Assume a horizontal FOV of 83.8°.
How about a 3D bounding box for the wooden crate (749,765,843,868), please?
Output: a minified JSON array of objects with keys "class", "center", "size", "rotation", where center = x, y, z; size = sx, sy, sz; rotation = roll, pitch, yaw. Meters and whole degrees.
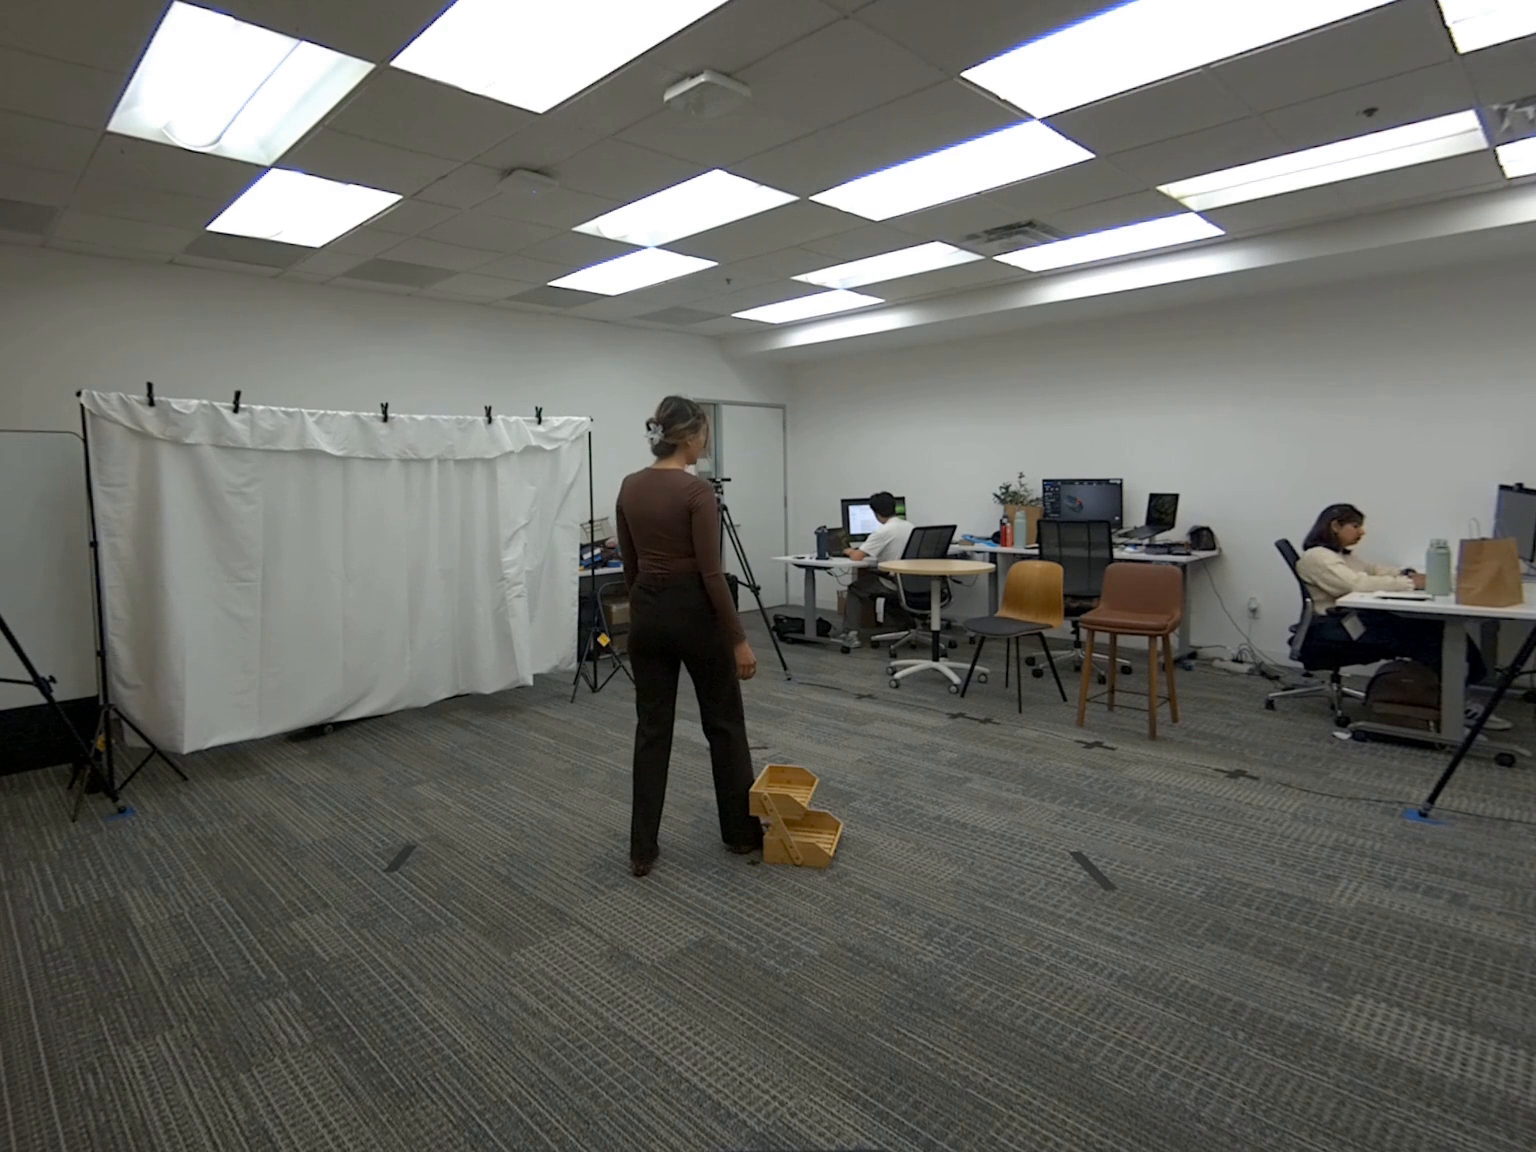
[{"class":"wooden crate","center":[0.110,0.887,3.223],"size":[0.306,0.272,0.321],"rotation":[0,5,13]}]
